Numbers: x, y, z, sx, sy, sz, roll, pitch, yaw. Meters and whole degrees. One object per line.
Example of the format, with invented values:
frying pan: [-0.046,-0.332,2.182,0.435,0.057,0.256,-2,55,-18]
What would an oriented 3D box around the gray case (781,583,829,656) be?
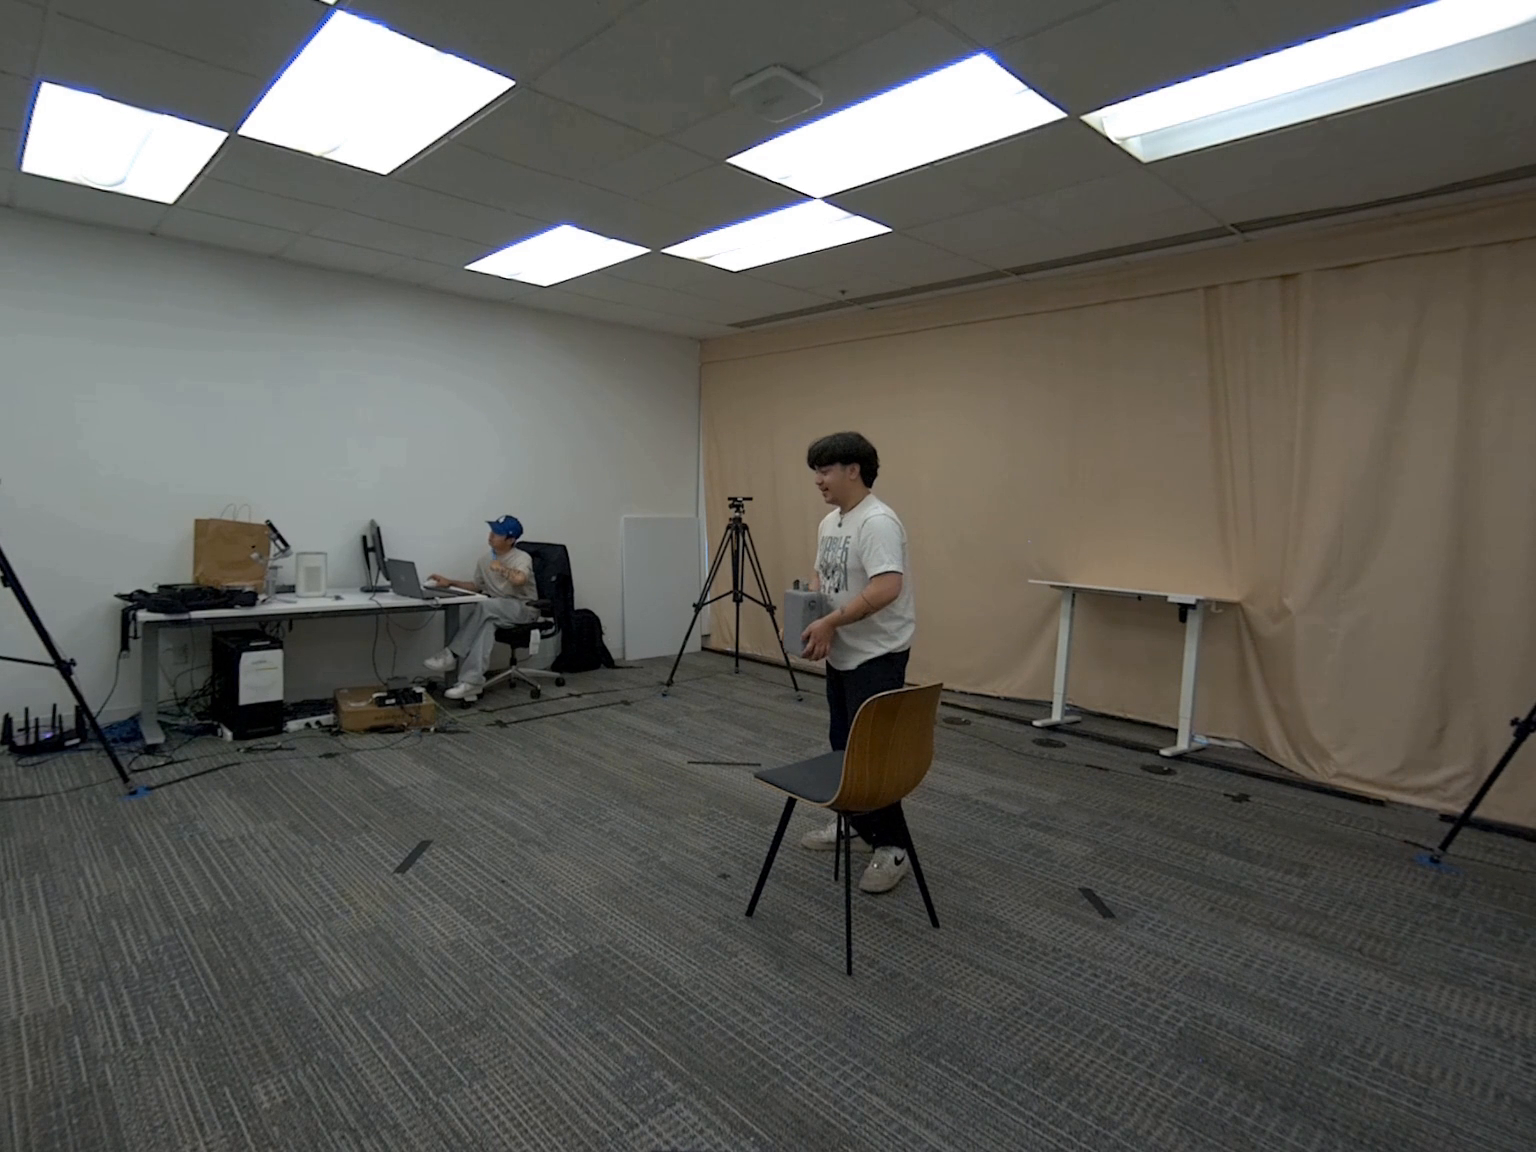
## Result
gray case: [0.133,0.168,3.211,0.103,0.261,0.260,0,-3,-18]
